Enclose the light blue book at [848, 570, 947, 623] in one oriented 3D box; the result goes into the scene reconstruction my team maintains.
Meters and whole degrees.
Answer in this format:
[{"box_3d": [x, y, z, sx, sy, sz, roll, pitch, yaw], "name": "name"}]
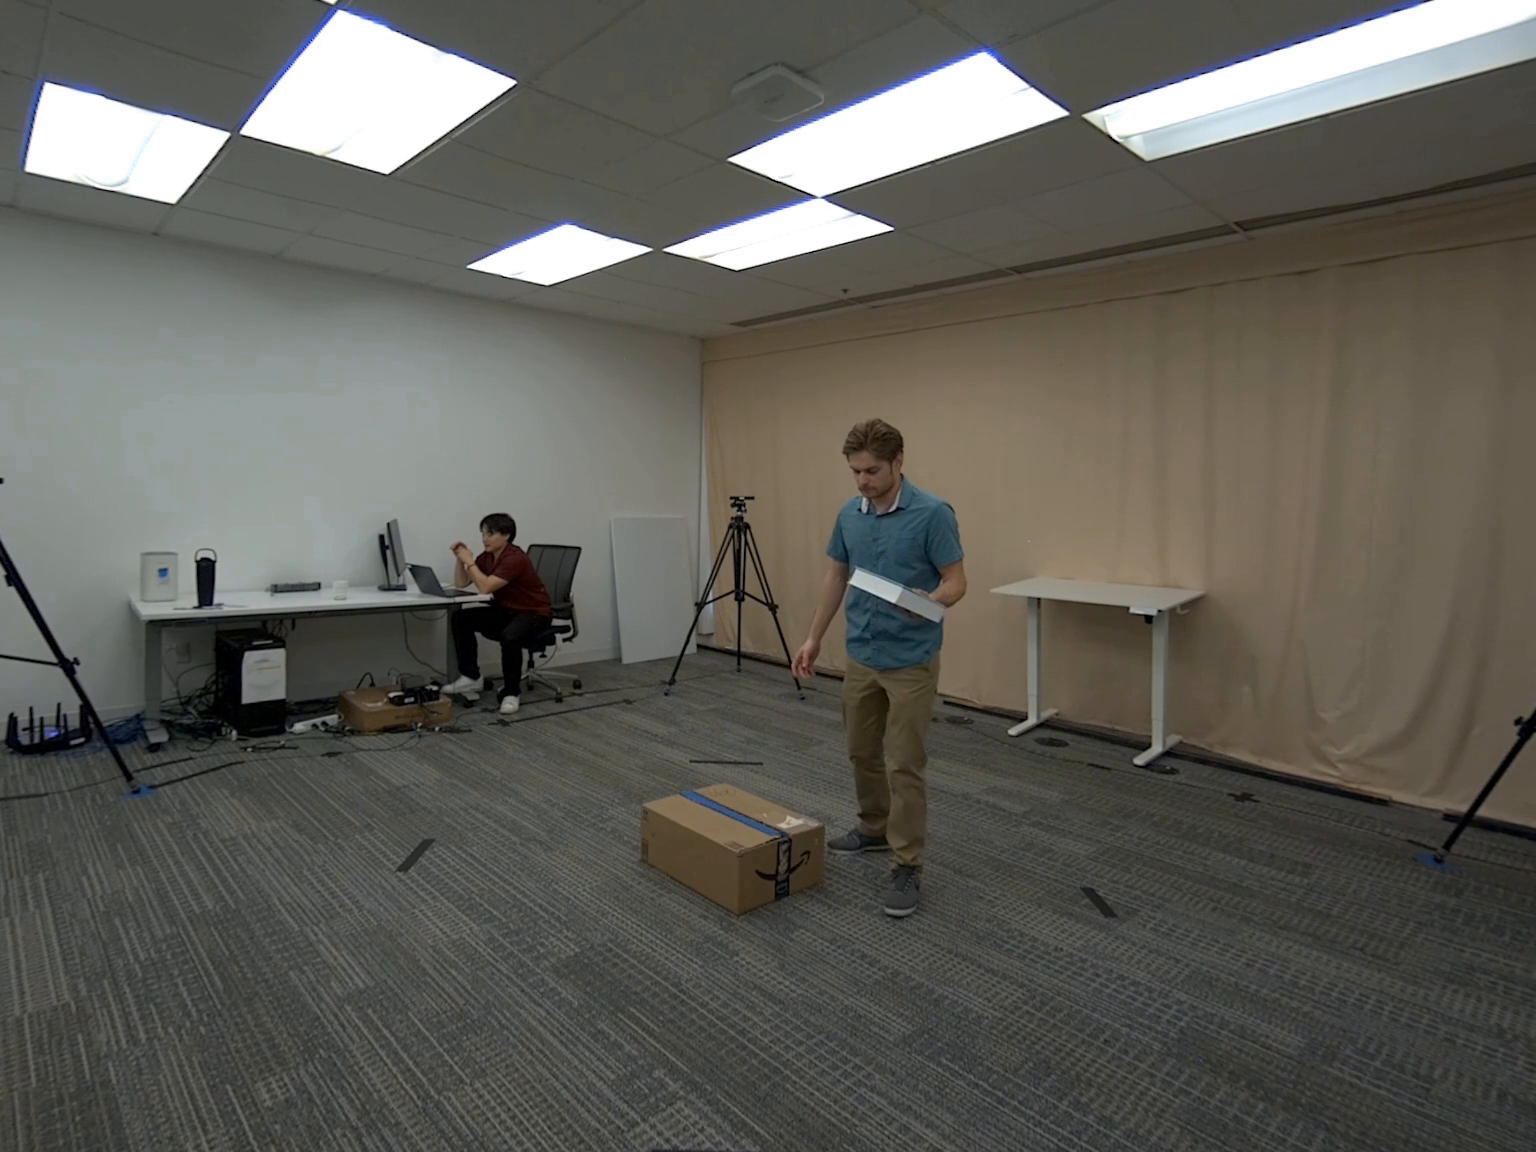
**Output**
[{"box_3d": [0.393, 0.070, 2.639, 0.186, 0.059, 0.268, 26, 1, -28], "name": "light blue book"}]
